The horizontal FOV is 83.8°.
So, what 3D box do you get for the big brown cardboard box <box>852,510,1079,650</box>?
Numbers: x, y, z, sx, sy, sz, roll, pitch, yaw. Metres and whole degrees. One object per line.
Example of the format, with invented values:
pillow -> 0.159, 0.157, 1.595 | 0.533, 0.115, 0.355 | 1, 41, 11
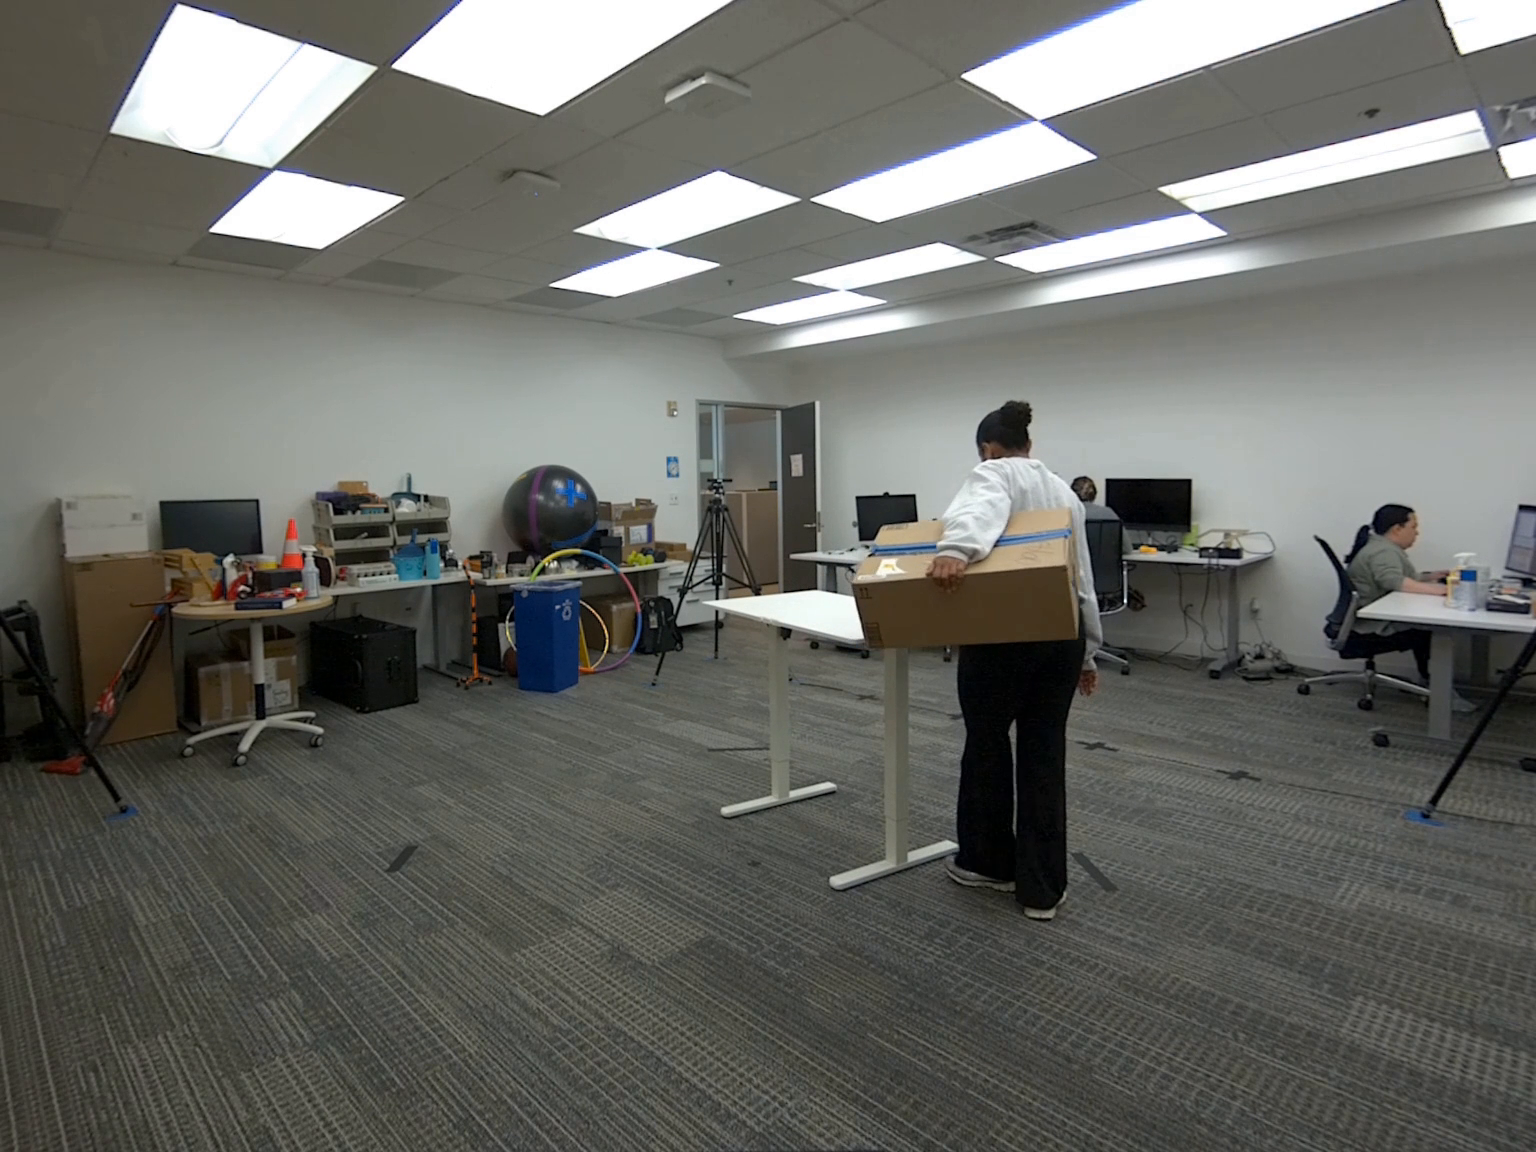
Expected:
big brown cardboard box -> 0.579, 0.010, 2.474 | 0.601, 0.228, 0.418 | -4, 23, 24
